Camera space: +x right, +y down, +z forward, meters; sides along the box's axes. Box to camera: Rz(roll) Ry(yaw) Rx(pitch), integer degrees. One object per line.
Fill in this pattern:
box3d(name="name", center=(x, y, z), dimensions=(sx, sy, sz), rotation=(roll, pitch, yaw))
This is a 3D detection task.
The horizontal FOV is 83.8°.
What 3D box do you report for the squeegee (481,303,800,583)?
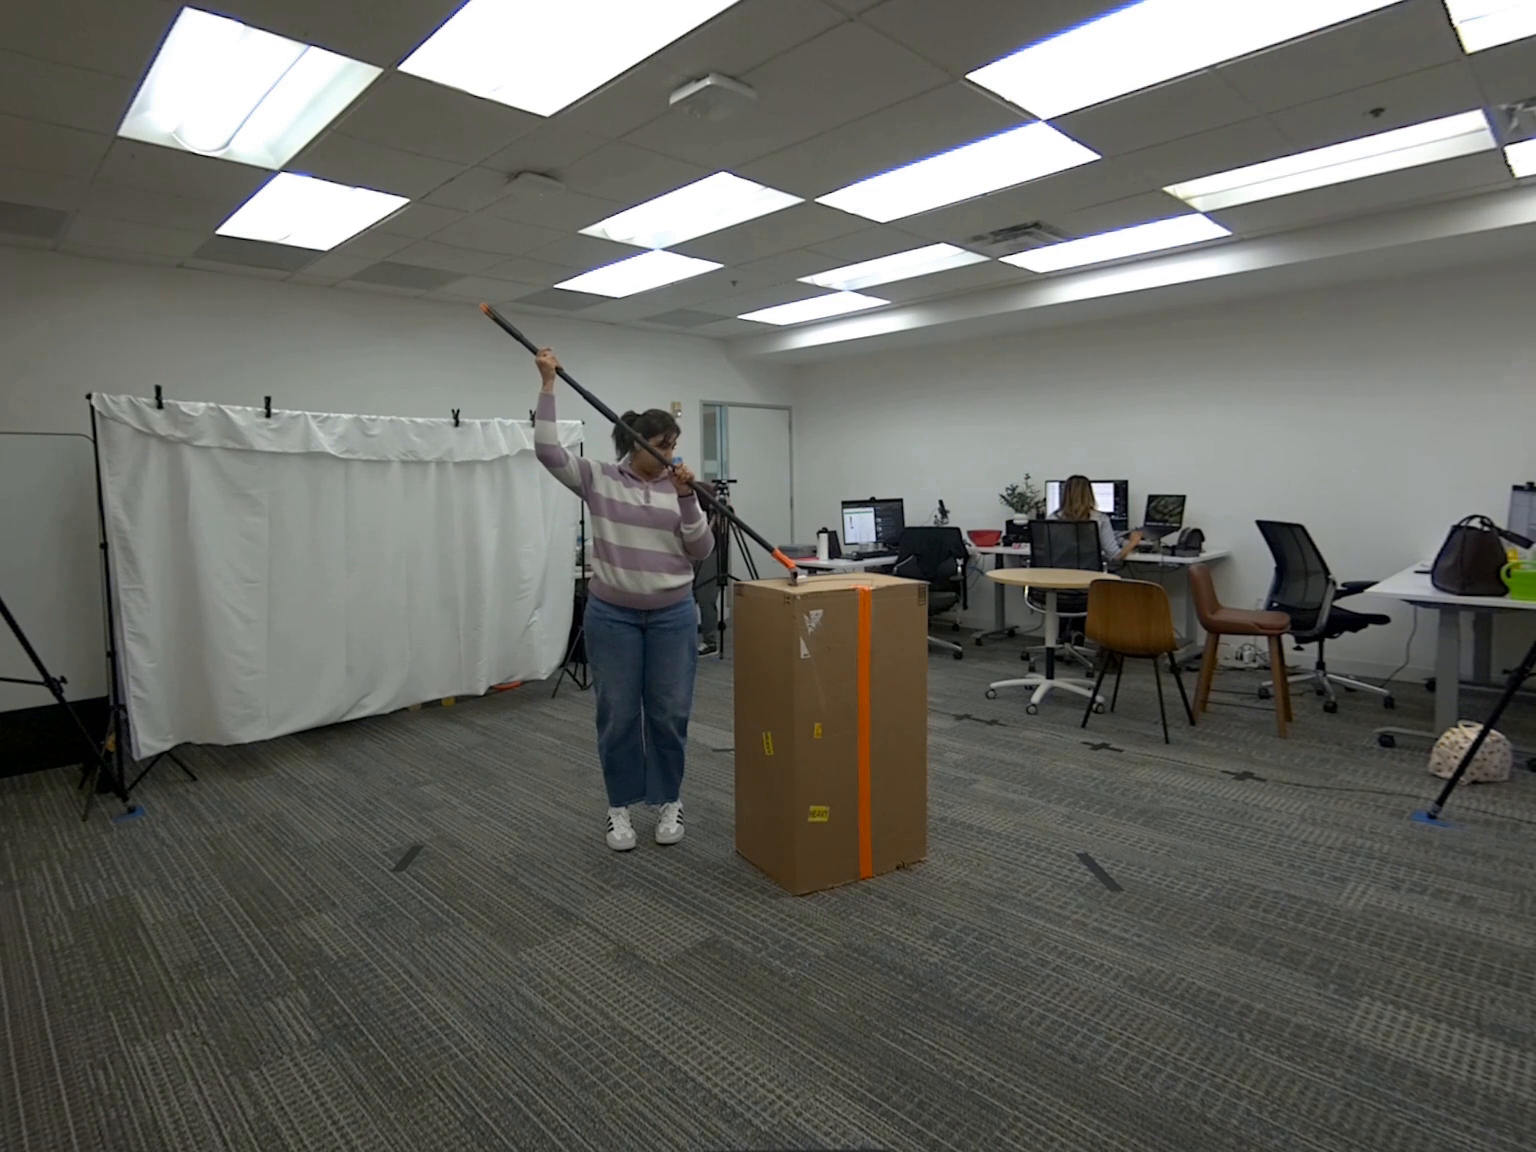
box3d(name="squeegee", center=(-0.476, -0.505, 3.151), dimensions=(1.538, 0.053, 0.437), rotation=(42, -1, 0))
